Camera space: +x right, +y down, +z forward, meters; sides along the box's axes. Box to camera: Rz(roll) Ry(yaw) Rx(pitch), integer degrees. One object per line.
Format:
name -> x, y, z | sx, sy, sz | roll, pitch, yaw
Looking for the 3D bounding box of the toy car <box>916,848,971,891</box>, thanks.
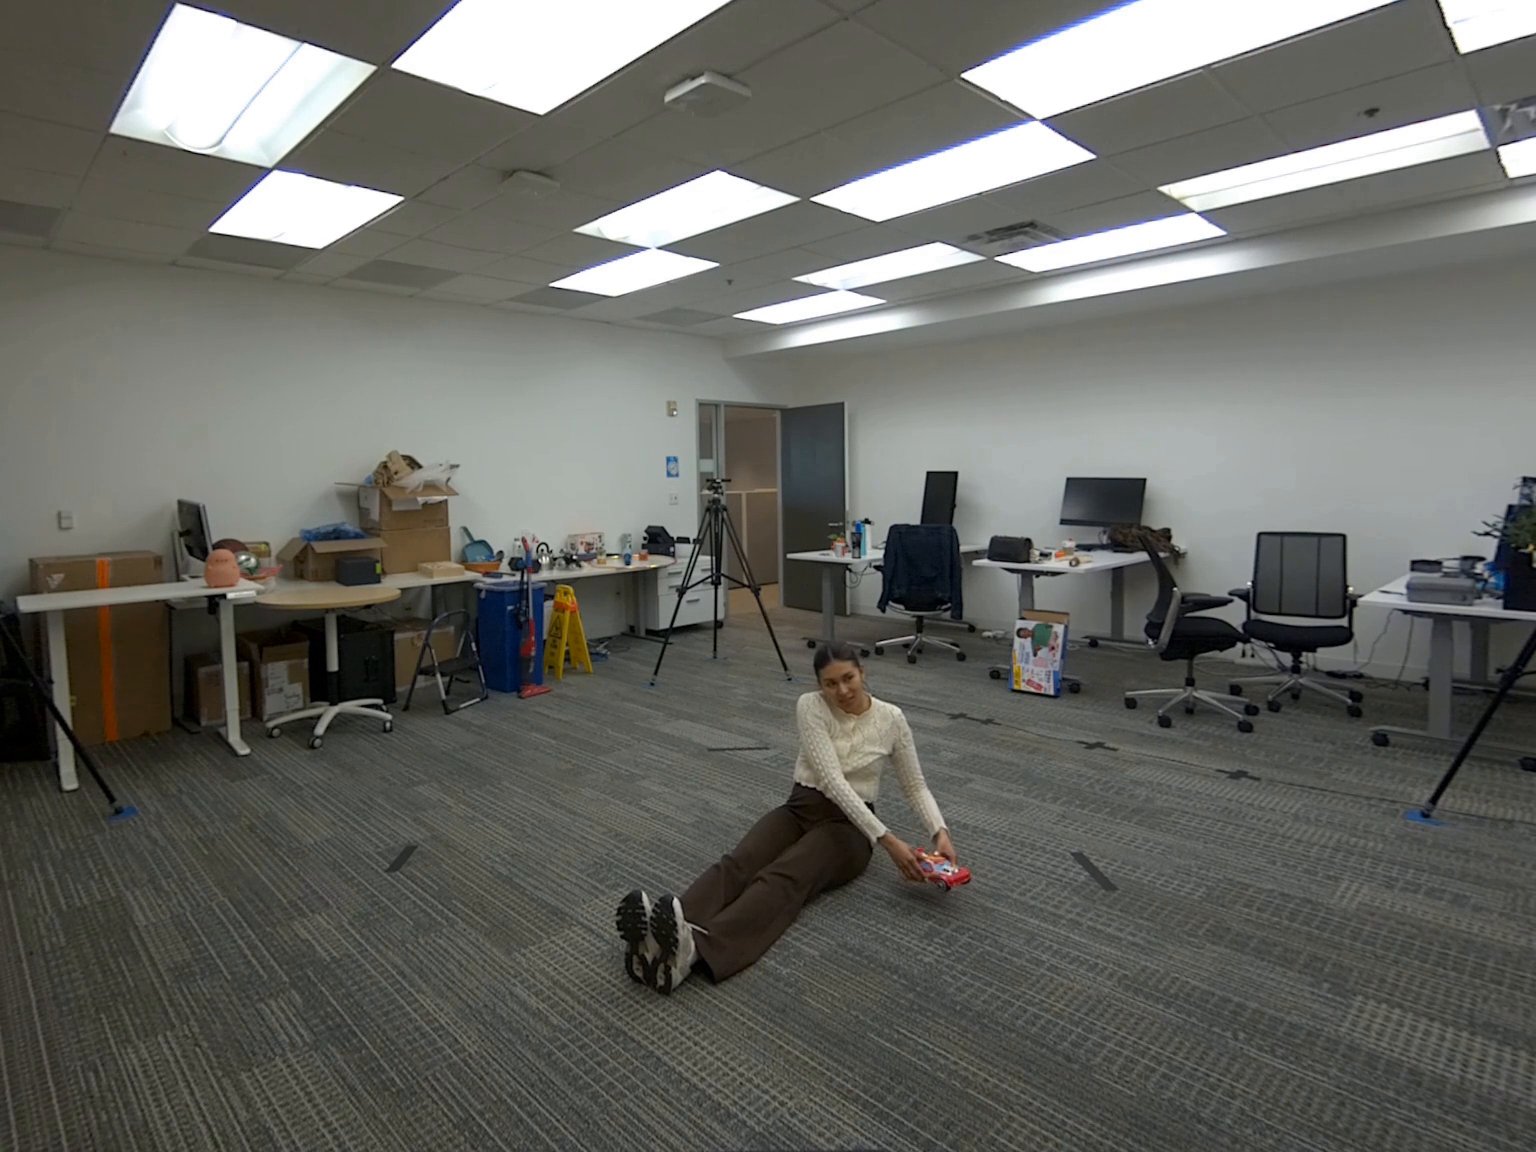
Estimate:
toy car -> 0.543, 0.964, 2.801 | 0.127, 0.083, 0.262 | -3, 9, -31
